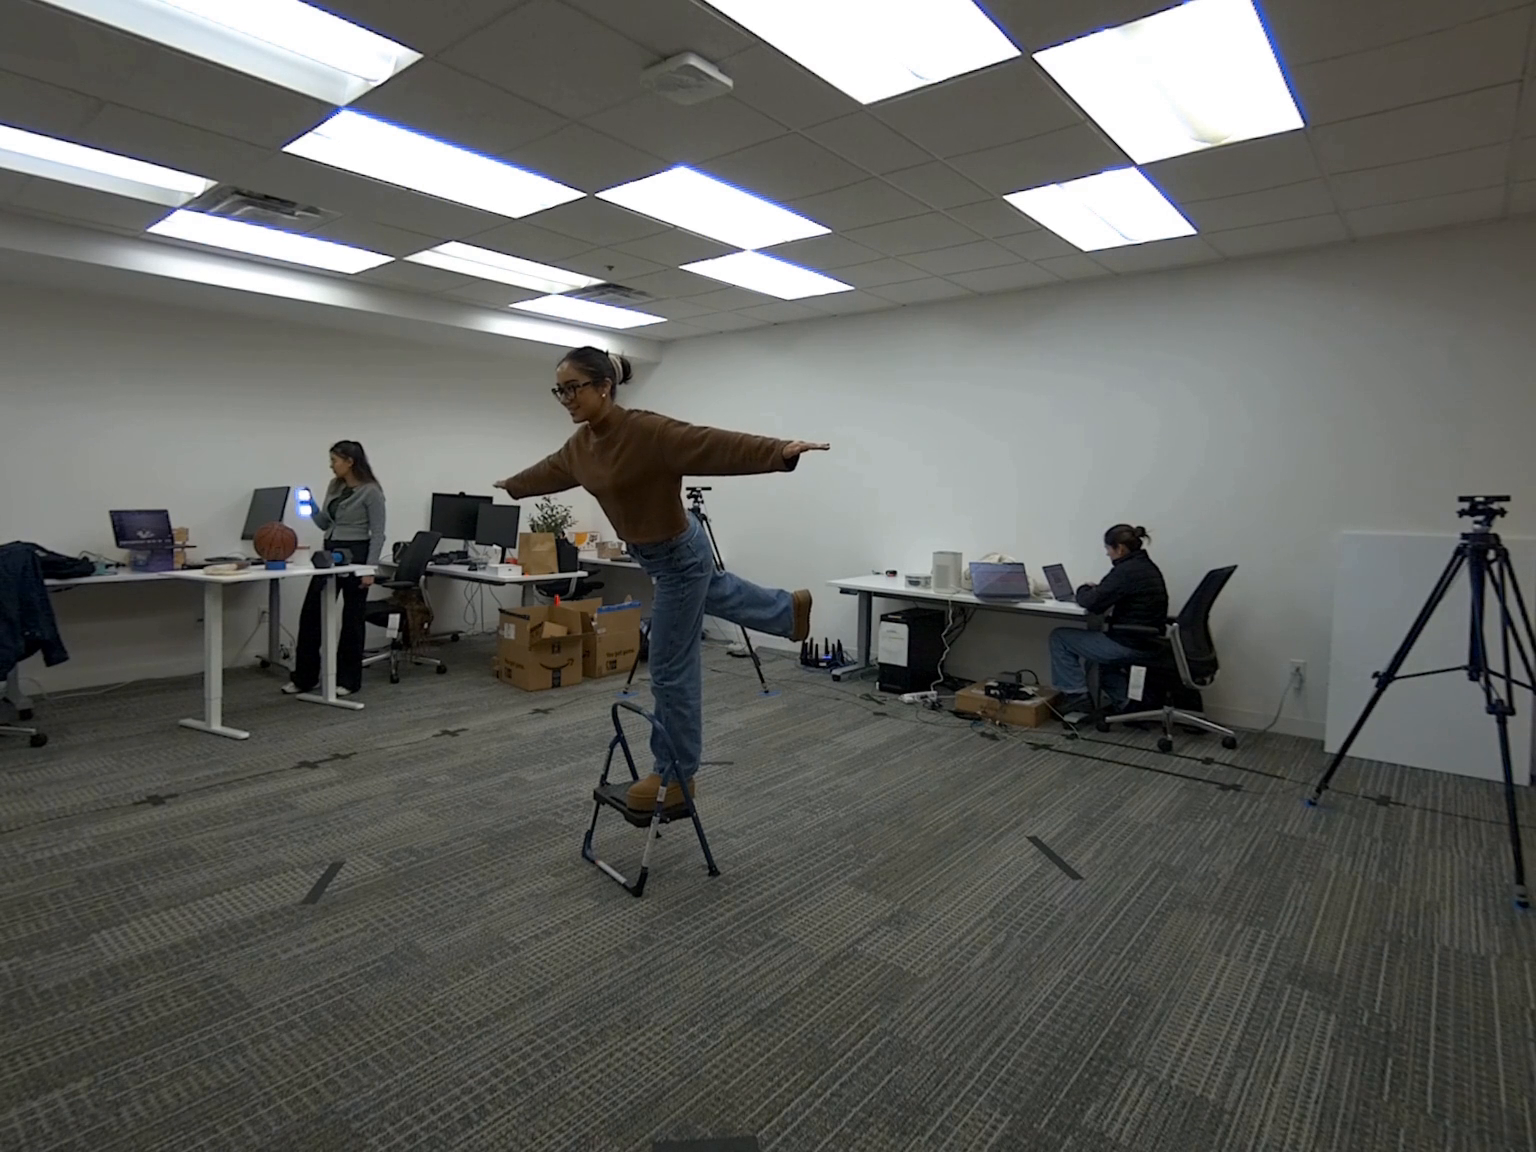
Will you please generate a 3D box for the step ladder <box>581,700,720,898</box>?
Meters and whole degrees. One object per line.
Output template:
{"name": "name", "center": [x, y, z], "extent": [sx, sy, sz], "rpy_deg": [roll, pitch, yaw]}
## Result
{"name": "step ladder", "center": [-0.447, 0.760, 3.116], "extent": [0.339, 0.604, 0.445], "rpy_deg": [-2, 5, -39]}
